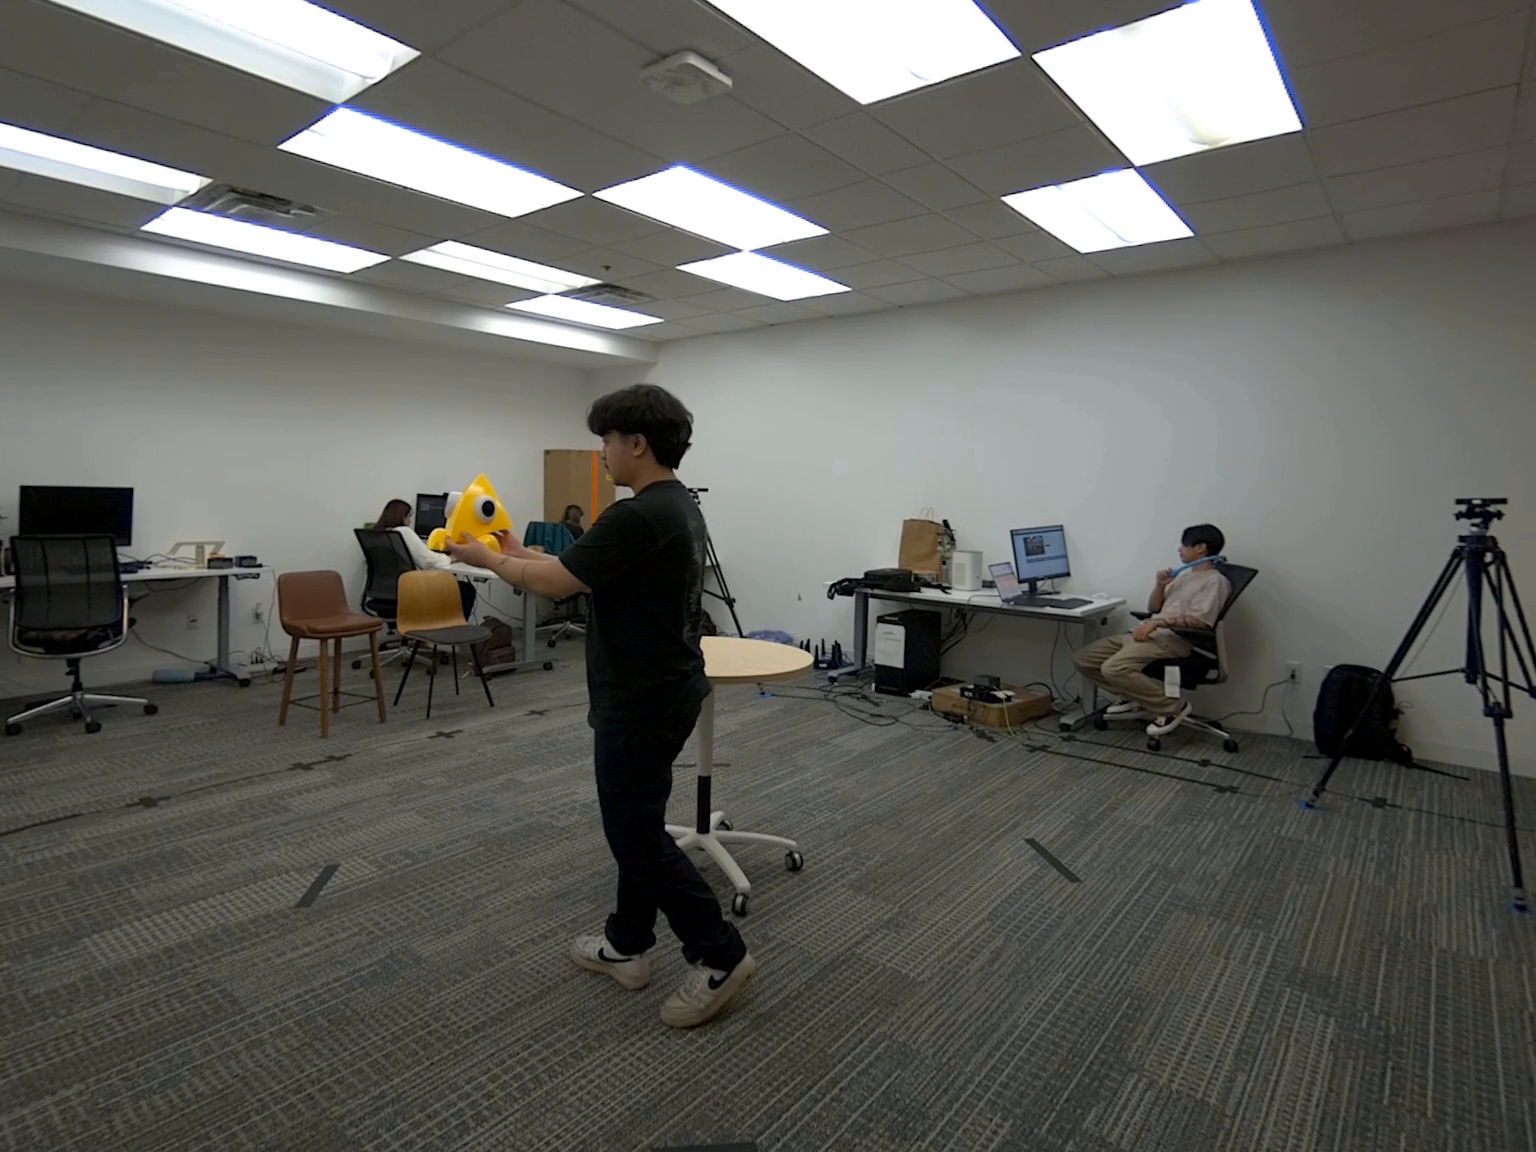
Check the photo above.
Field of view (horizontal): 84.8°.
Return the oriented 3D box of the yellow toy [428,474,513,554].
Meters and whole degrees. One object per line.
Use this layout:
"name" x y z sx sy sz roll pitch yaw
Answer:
"yellow toy" -0.874 -0.187 2.464 0.207 0.230 0.191 7 3 8
